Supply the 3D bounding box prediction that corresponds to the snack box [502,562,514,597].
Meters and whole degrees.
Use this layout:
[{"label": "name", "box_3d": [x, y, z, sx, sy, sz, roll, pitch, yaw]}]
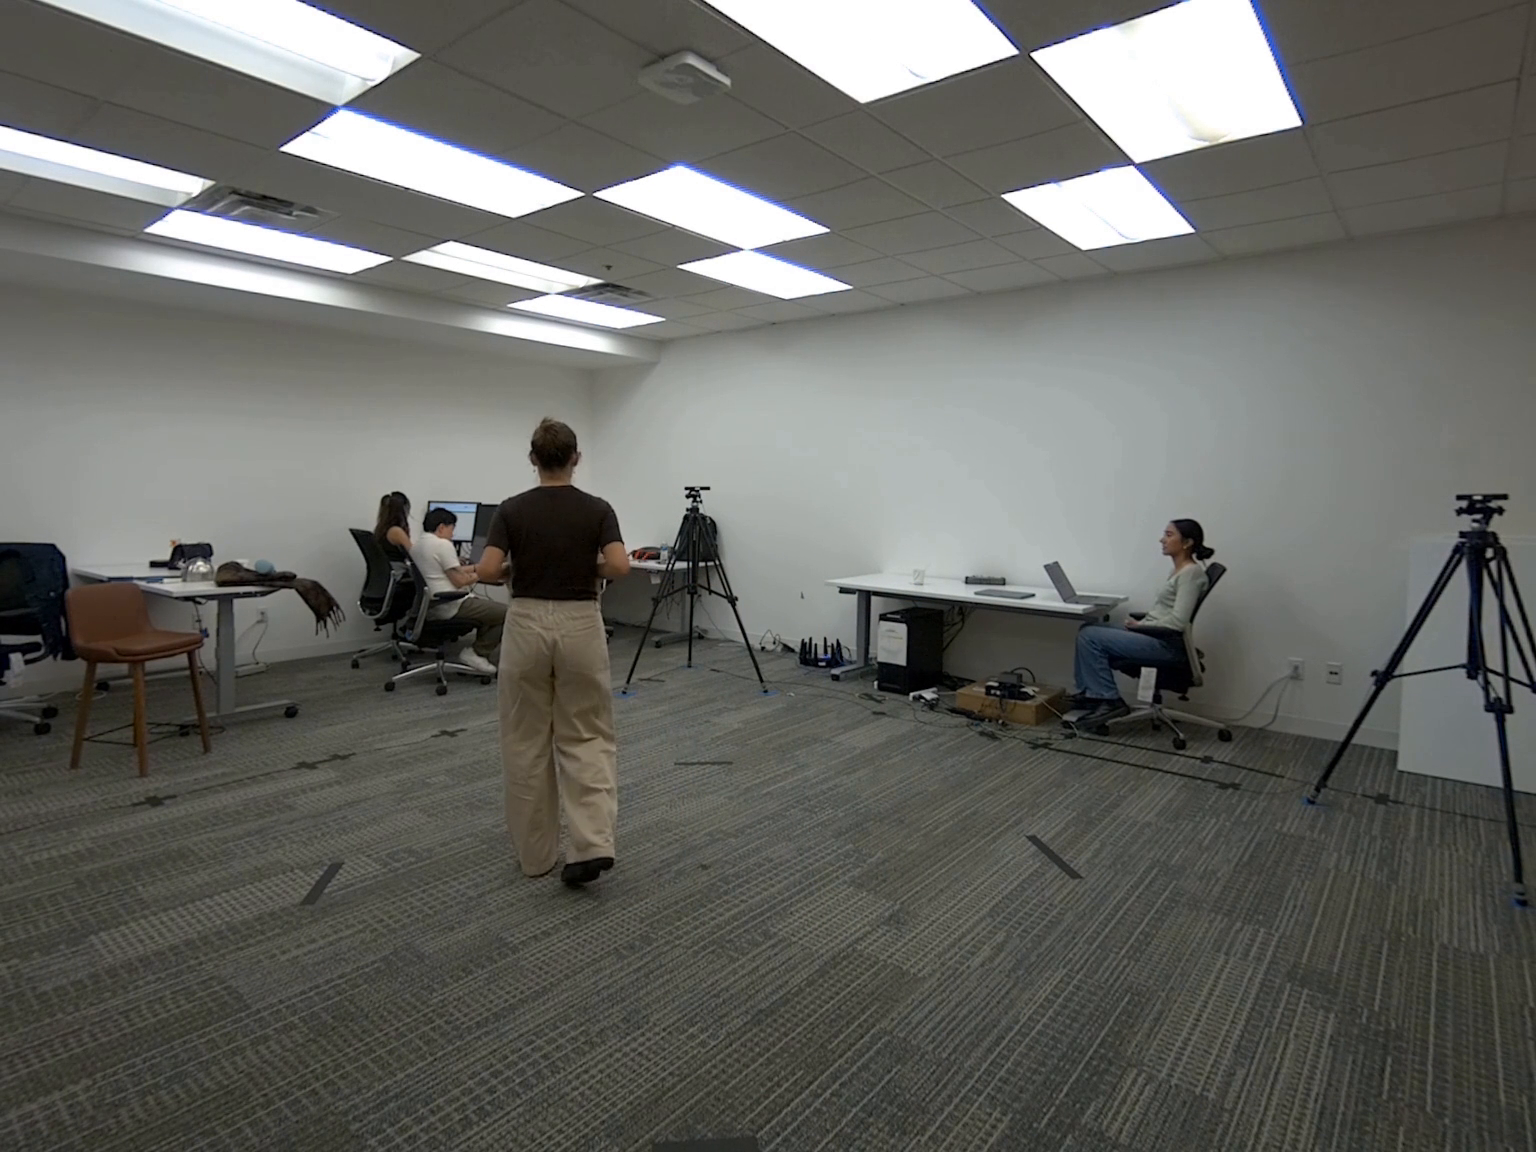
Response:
[{"label": "snack box", "box_3d": [-0.811, -0.066, 3.262, 0.337, 0.402, 0.209, 0, 8, -8]}]
